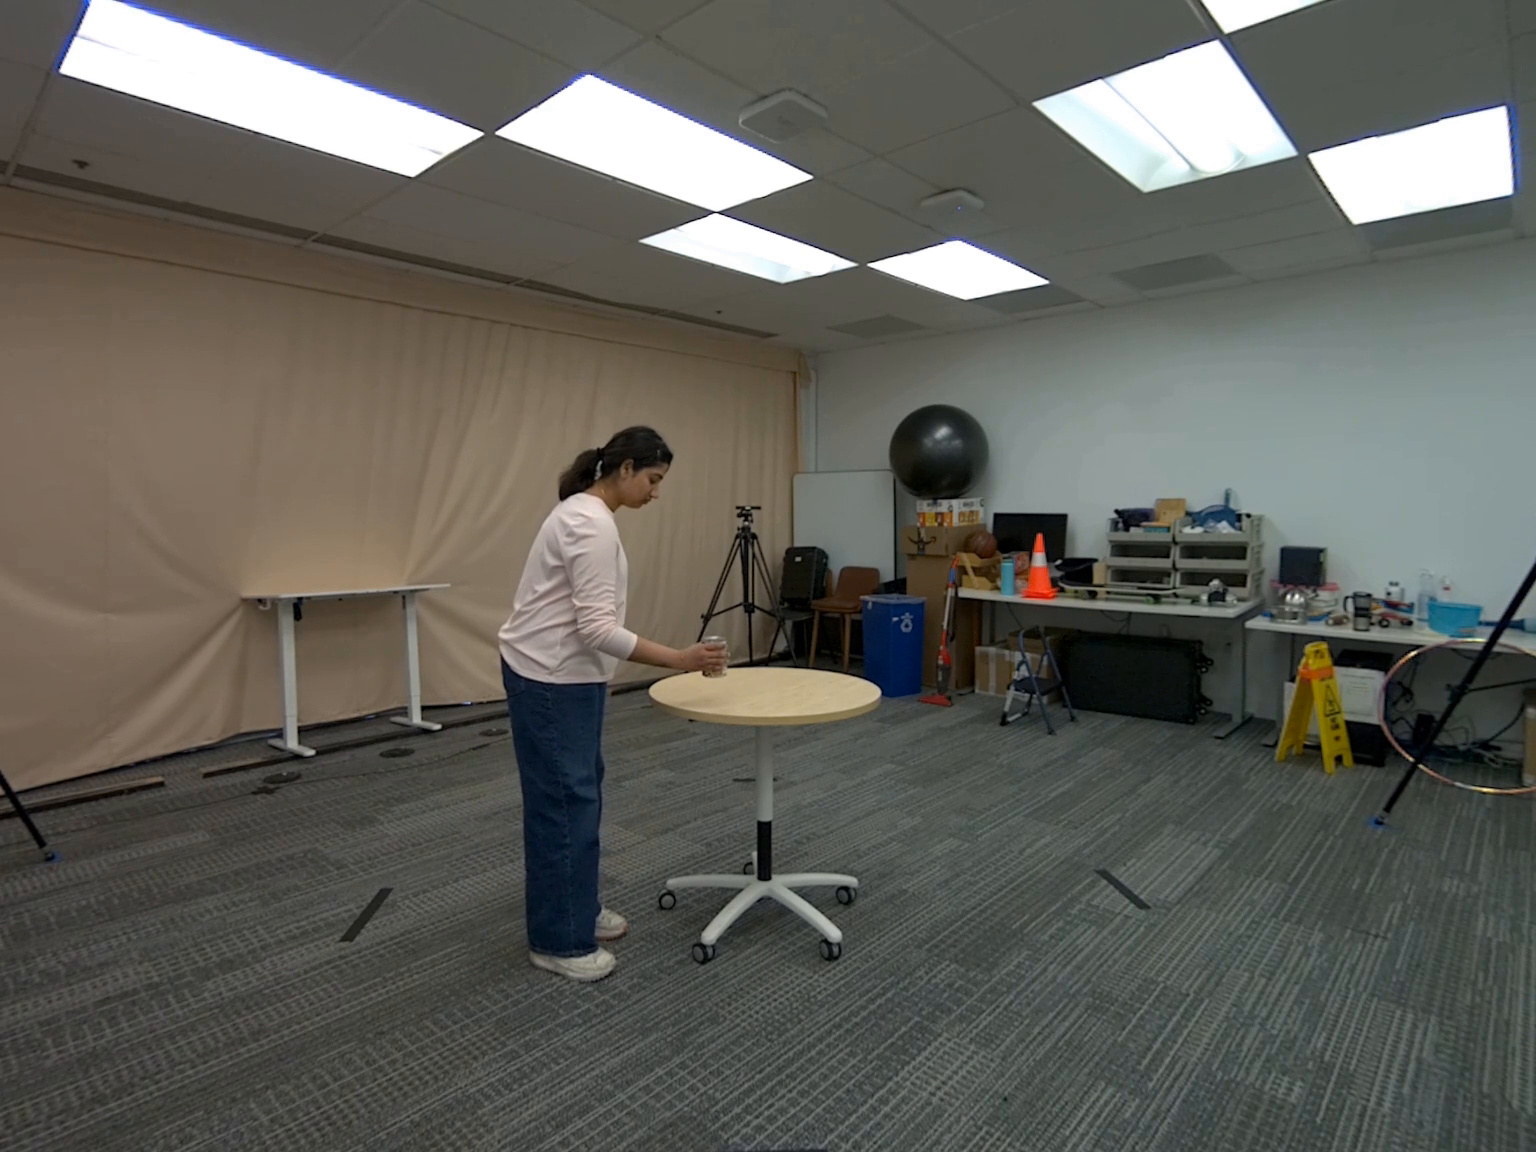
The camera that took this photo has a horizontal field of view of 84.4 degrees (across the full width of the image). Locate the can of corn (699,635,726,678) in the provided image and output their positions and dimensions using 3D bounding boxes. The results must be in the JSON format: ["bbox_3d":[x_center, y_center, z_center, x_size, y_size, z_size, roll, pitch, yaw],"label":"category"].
[{"bbox_3d":[-0.157,0.244,2.507,0.074,0.111,0.074,-3,5,-2],"label":"can of corn"}]
